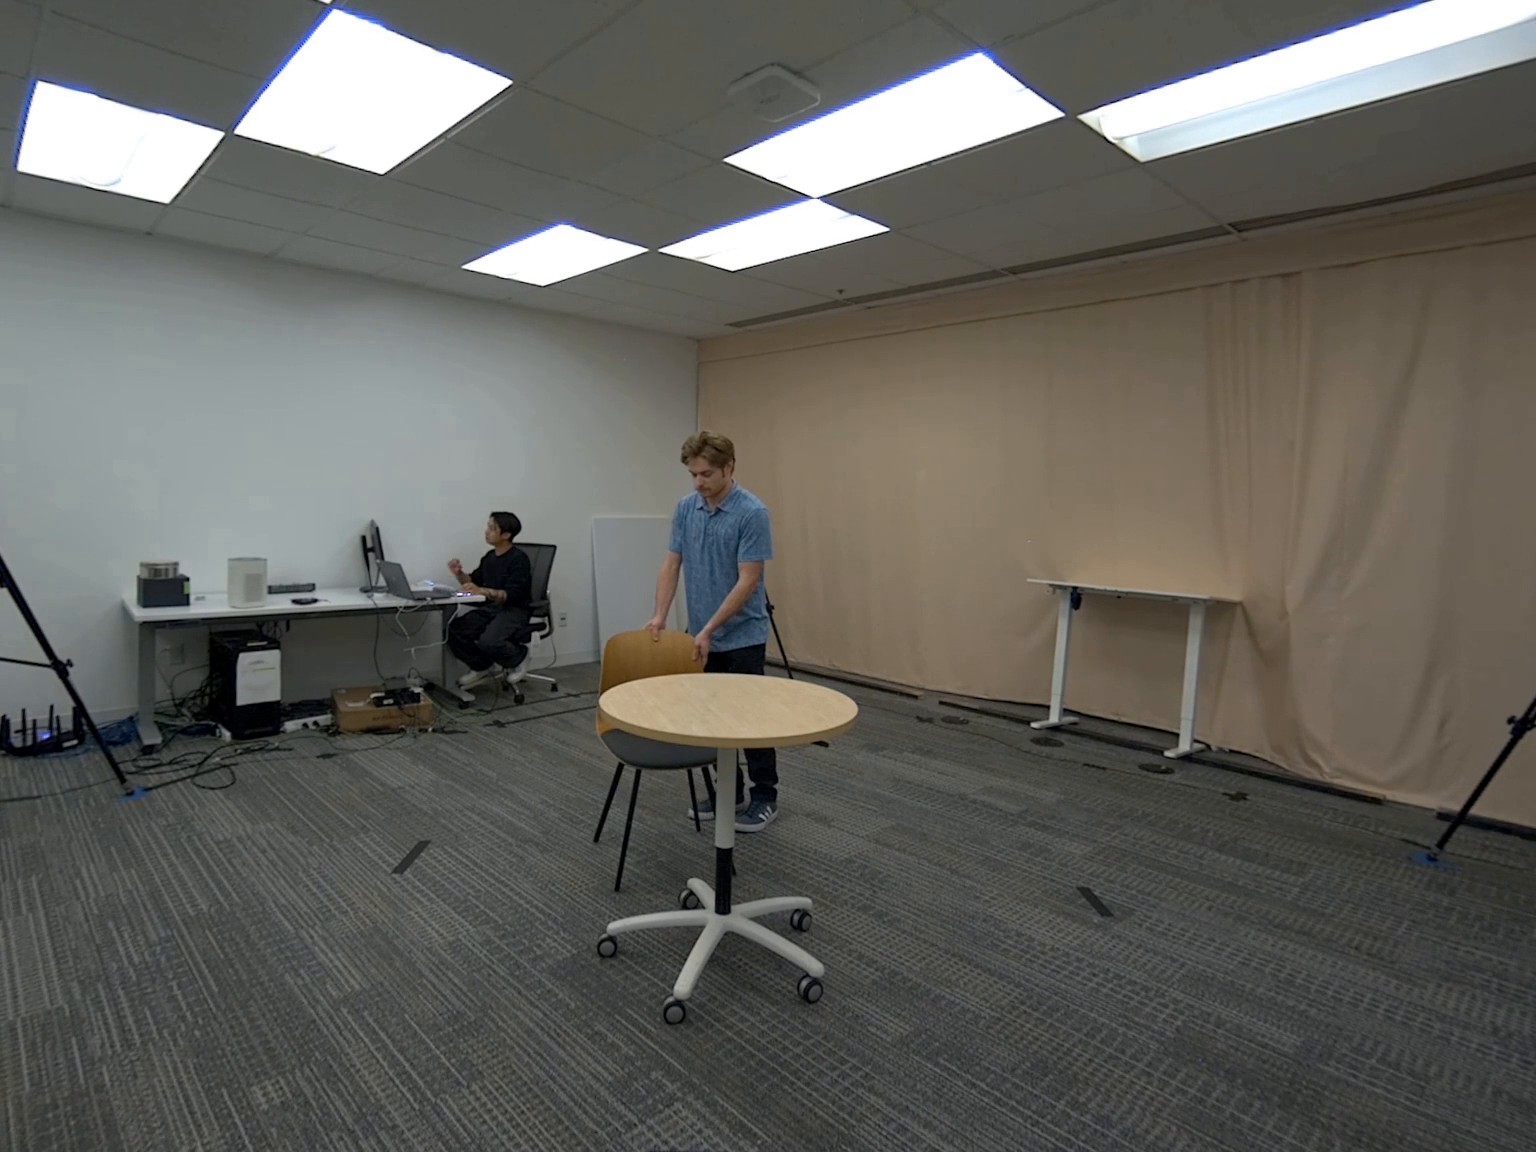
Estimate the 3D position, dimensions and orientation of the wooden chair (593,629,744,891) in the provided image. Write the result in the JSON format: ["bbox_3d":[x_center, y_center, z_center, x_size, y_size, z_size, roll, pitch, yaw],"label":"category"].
[{"bbox_3d":[-0.404,0.669,3.202,0.470,0.878,0.531,0,0,-21],"label":"wooden chair"}]
